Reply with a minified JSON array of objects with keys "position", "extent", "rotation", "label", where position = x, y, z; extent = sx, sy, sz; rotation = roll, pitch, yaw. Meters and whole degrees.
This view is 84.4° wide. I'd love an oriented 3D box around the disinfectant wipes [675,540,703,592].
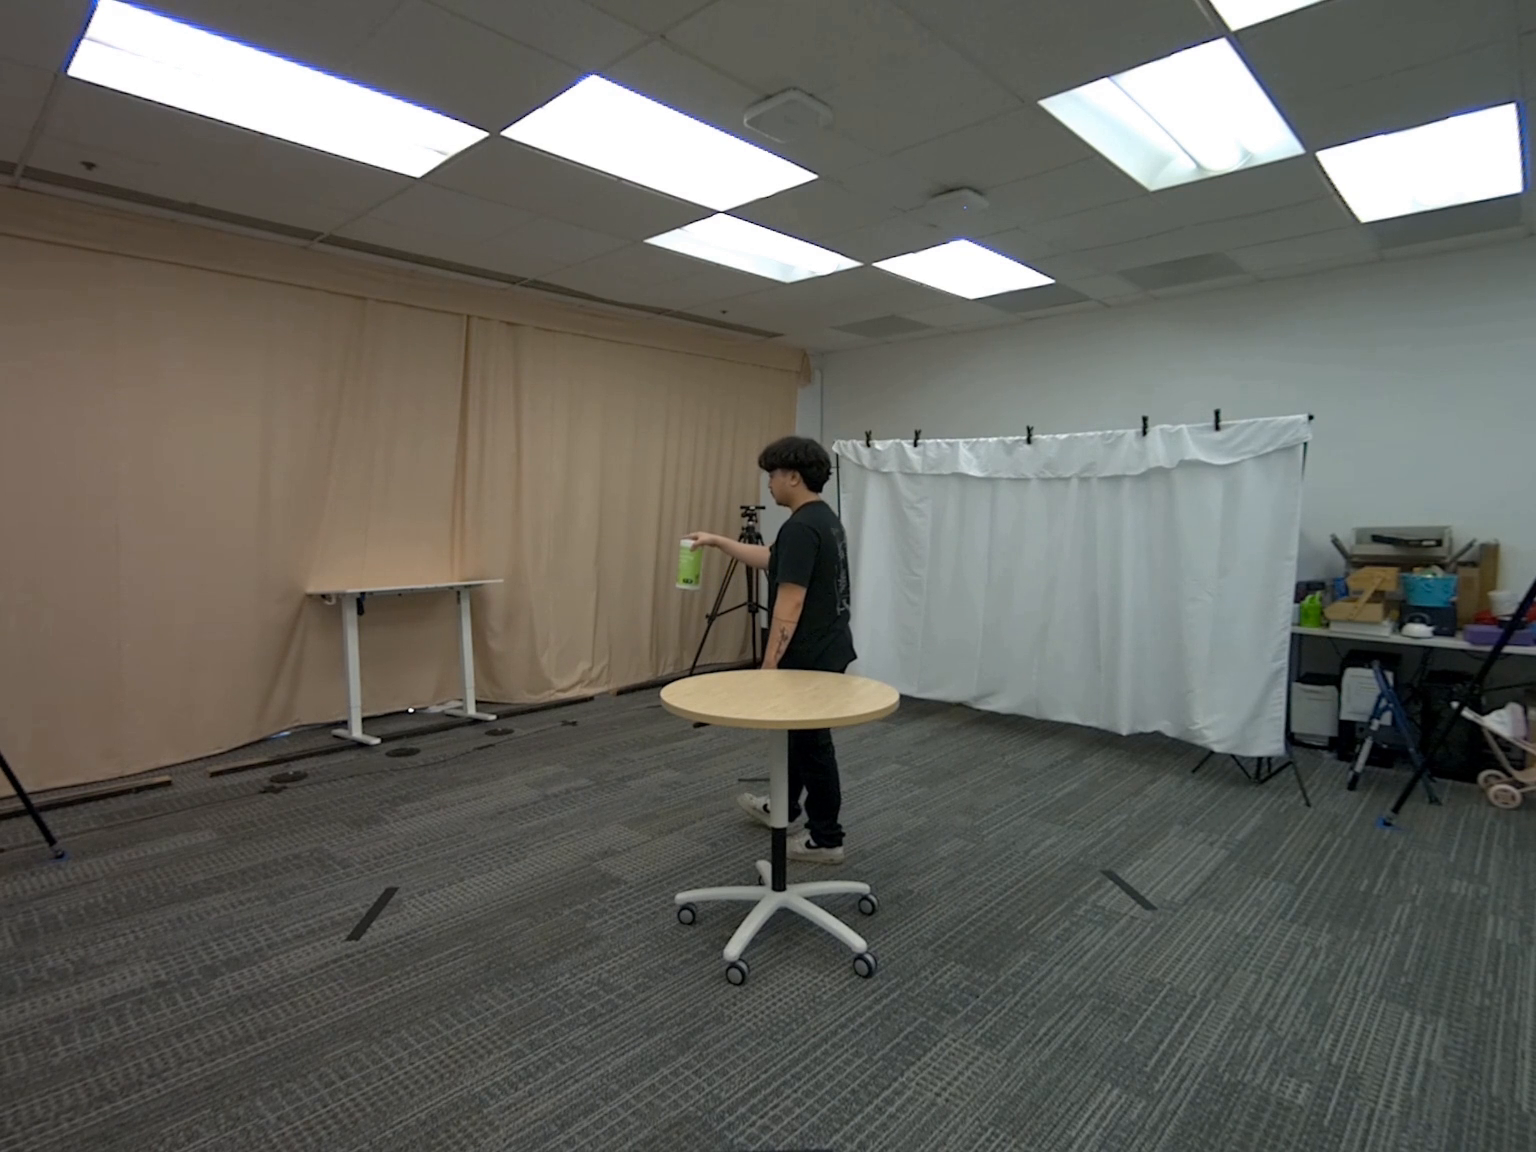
[{"position":[-0.339,-0.049,3.708],"extent":[0.117,0.217,0.118],"rotation":[5,4,-2],"label":"disinfectant wipes"}]
